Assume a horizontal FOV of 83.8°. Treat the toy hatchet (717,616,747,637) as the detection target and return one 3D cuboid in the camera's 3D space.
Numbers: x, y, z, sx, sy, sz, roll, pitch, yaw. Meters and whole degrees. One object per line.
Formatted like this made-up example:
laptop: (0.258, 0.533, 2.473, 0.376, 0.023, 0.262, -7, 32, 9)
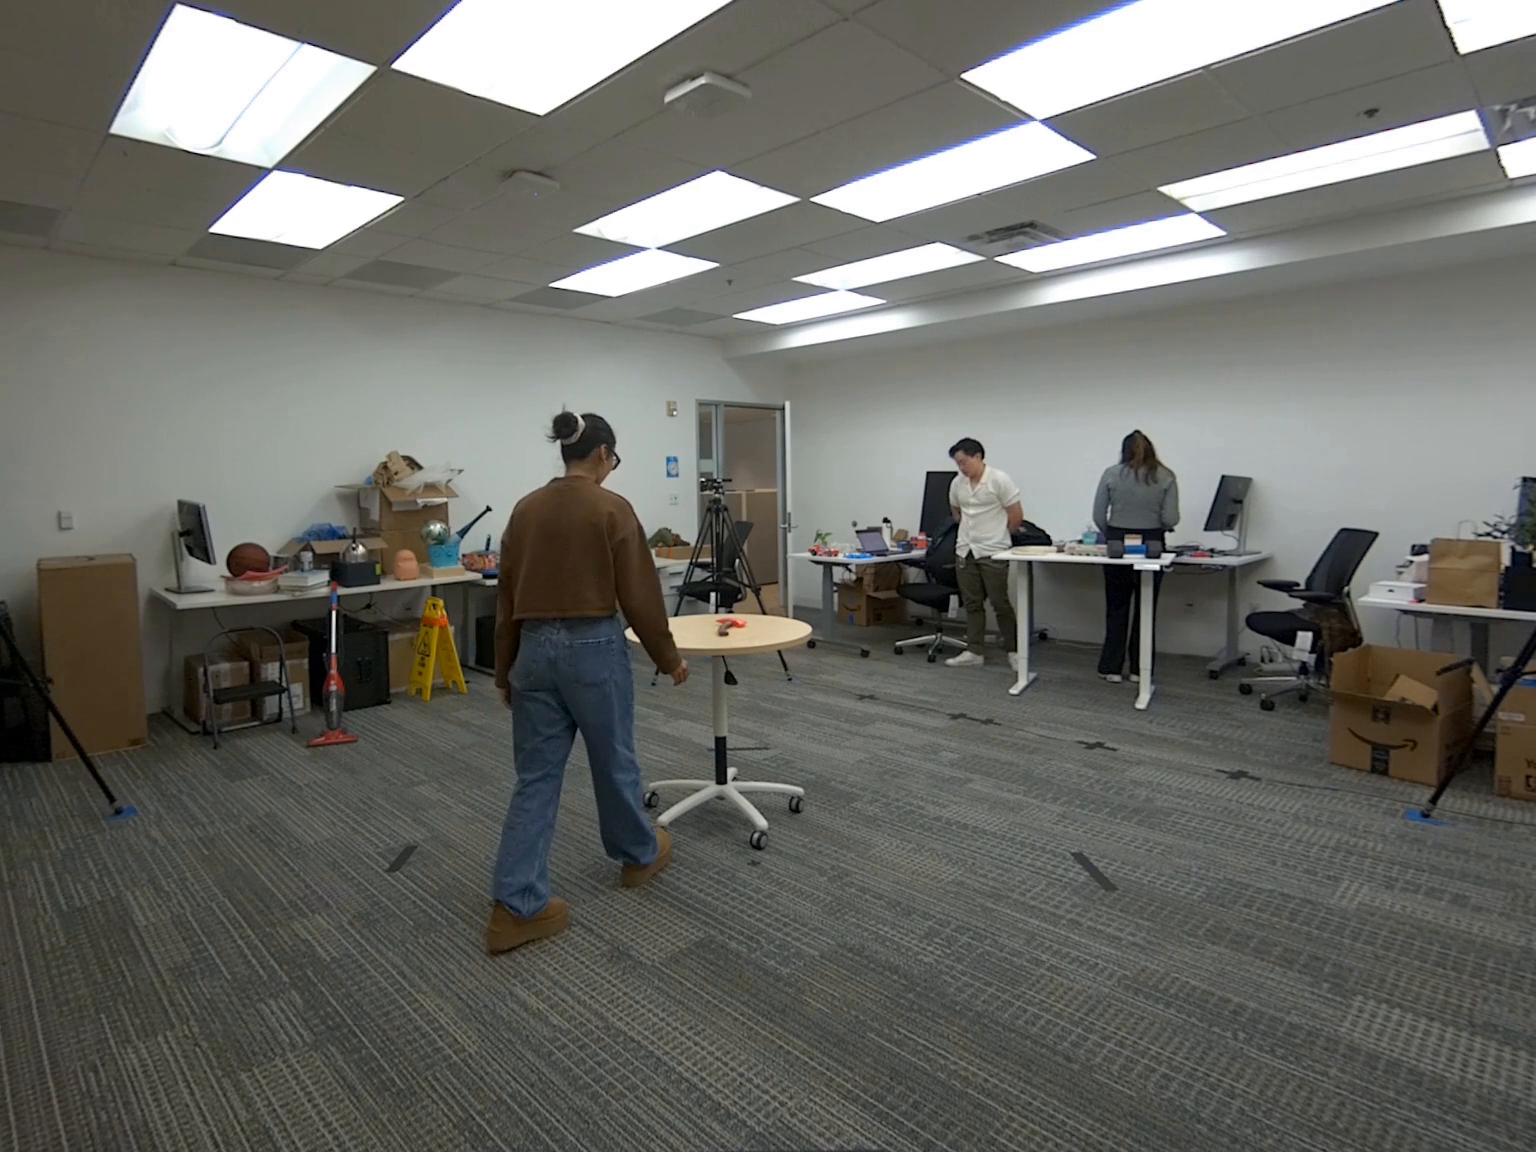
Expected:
toy hatchet: (-0.138, 0.211, 3.480, 0.130, 0.029, 0.273, 2, 8, -5)
